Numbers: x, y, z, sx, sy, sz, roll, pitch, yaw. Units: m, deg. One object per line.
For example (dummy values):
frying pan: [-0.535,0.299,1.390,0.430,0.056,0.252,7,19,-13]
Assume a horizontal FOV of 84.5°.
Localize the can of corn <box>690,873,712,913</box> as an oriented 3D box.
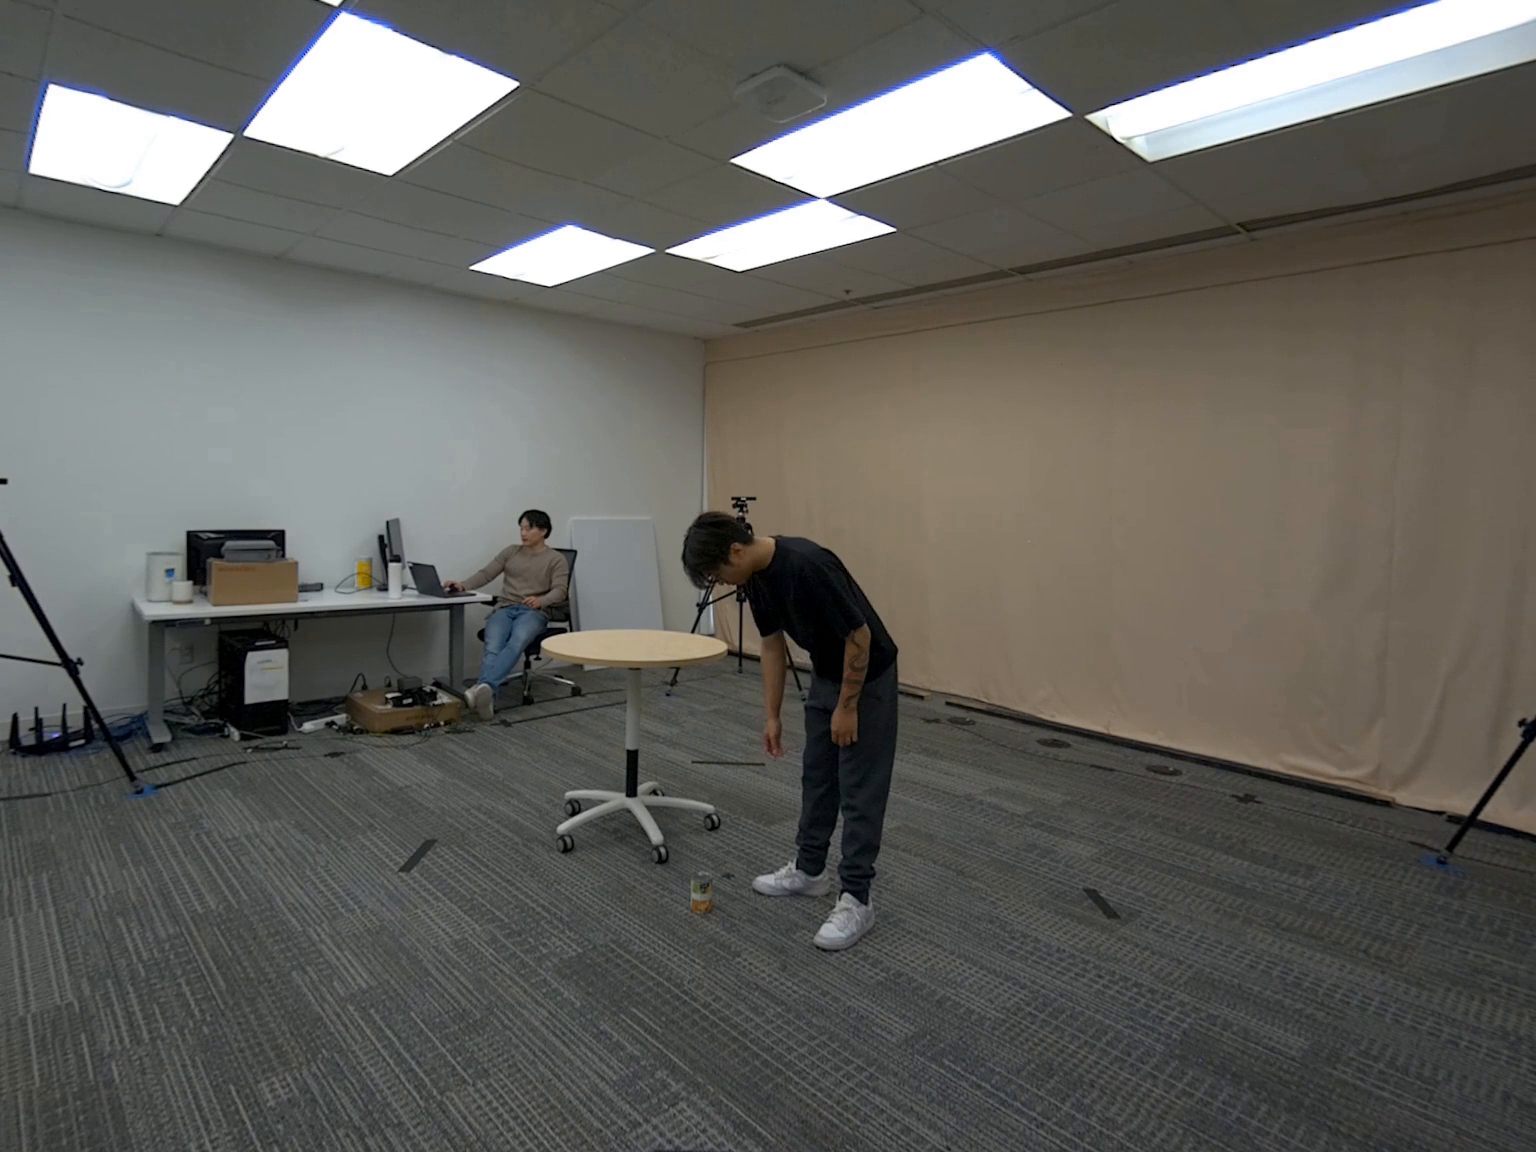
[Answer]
can of corn: [-0.231,1.068,2.855,0.074,0.111,0.074,3,3,-2]
